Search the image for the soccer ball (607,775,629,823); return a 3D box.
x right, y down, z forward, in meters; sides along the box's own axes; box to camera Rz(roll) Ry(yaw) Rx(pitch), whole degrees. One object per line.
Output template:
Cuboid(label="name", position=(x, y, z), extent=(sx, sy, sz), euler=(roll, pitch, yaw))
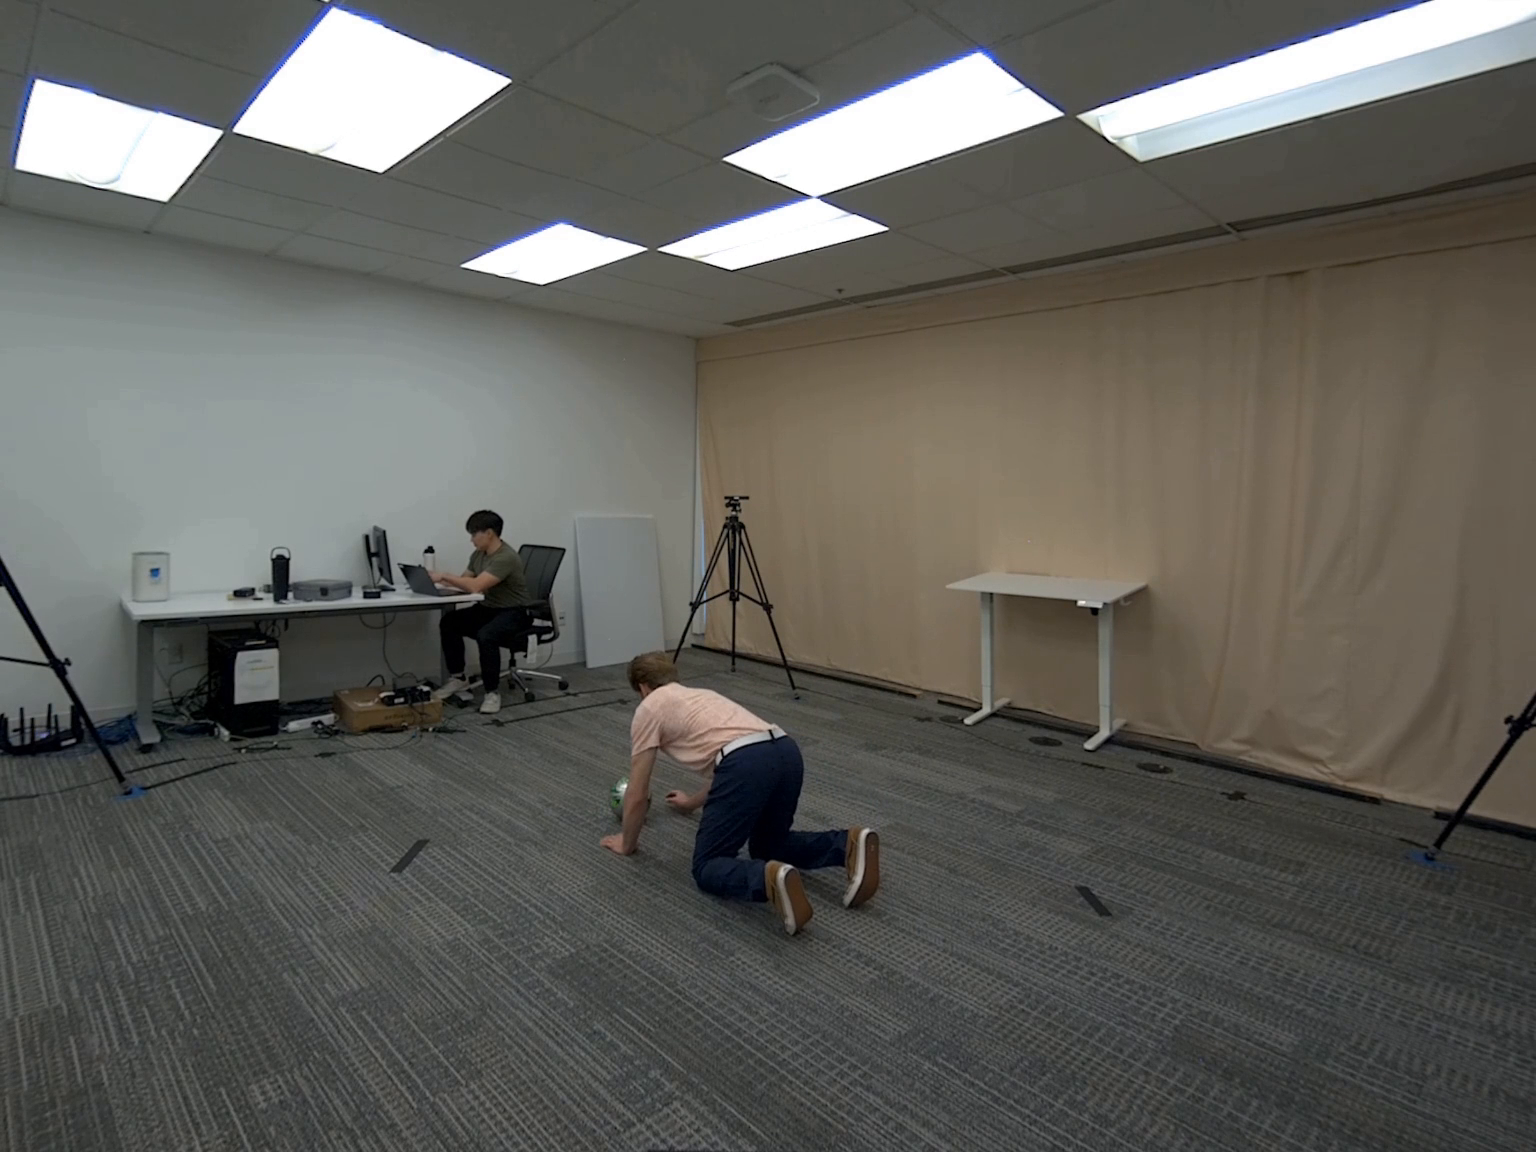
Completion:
Cuboid(label="soccer ball", position=(-0.596, 0.953, 3.615), extent=(0.187, 0.187, 0.188), euler=(1, 4, -1))
